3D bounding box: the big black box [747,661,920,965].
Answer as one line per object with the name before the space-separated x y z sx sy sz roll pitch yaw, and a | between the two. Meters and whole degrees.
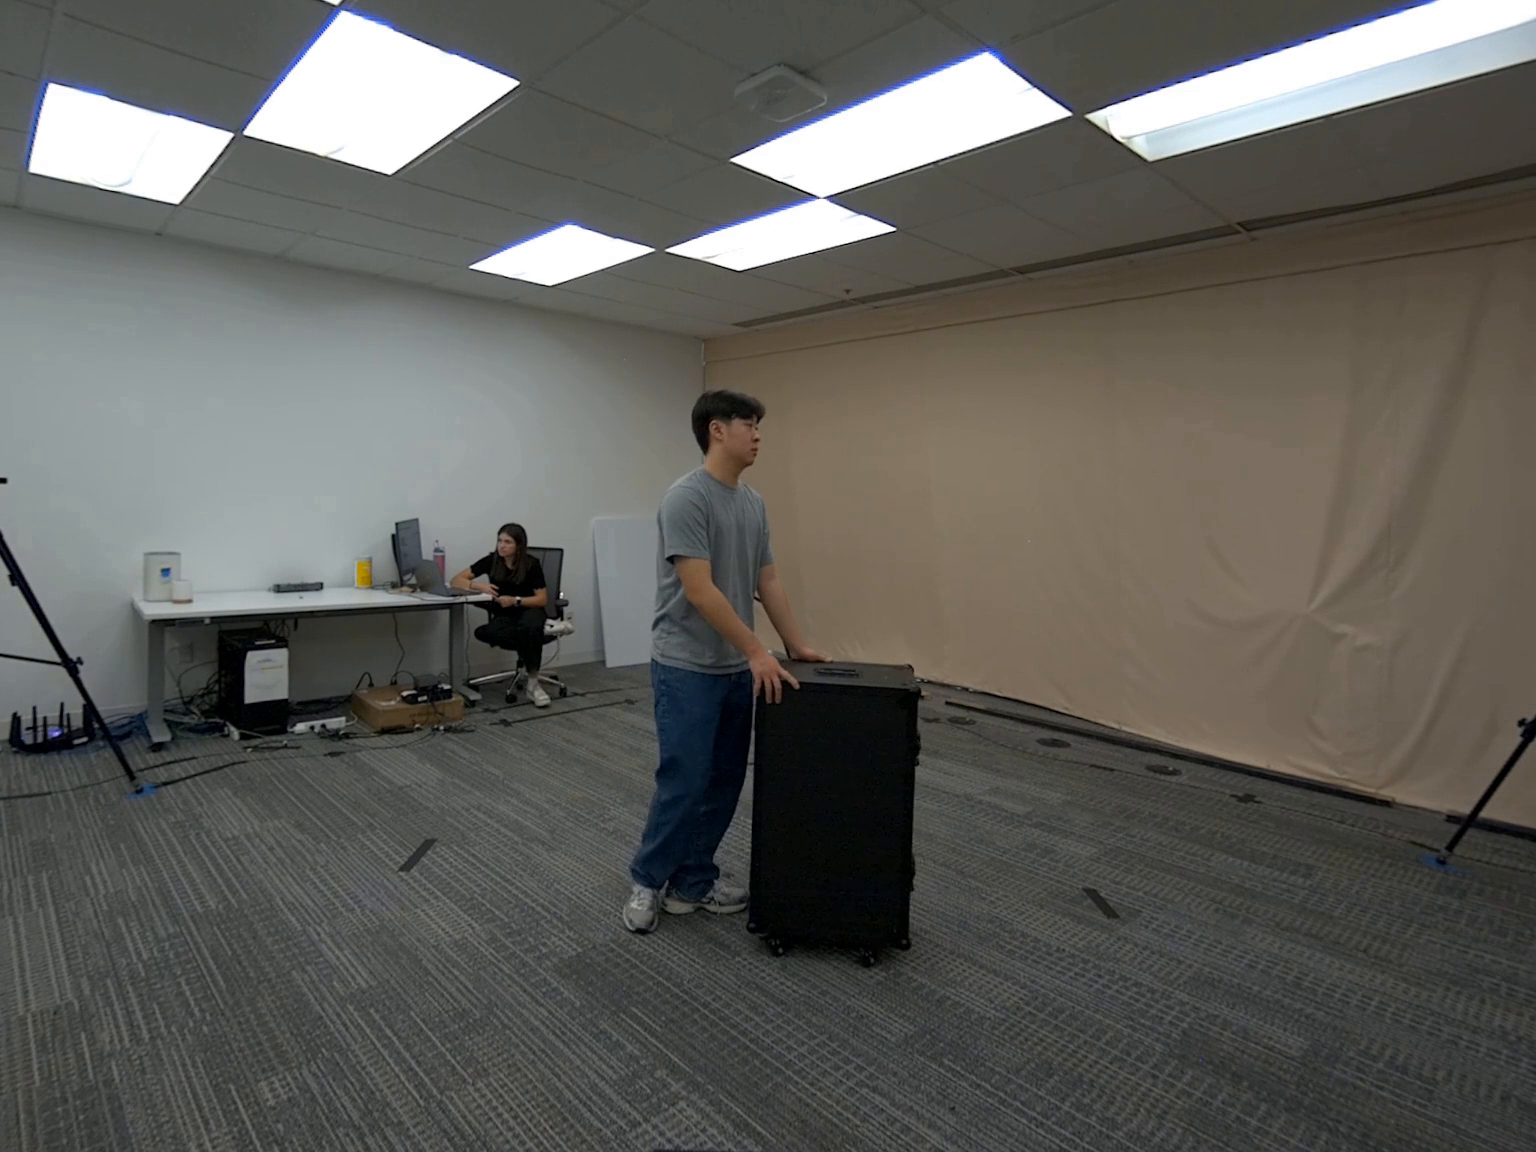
big black box | 0.201 0.728 2.680 0.525 0.860 0.394 2 2 8
